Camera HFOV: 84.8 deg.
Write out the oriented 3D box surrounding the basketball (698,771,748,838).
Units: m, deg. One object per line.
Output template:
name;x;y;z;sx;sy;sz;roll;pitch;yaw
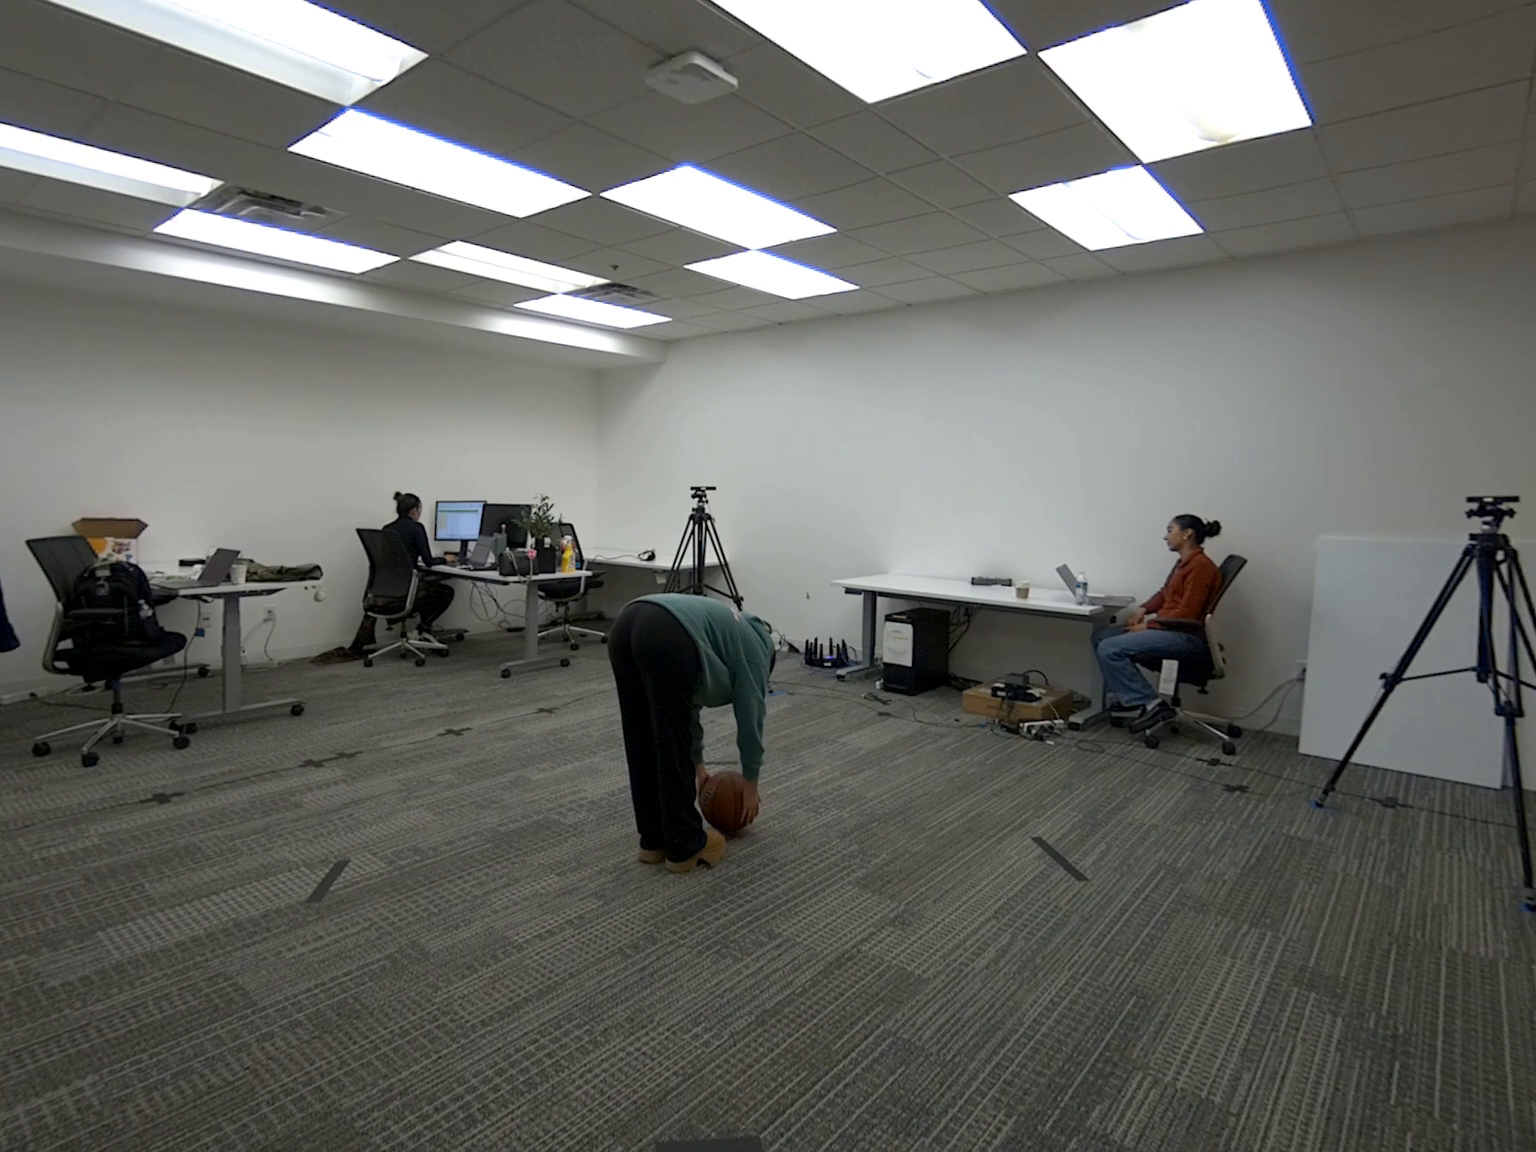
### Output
basketball;-0.167;0.891;3.428;0.235;0.235;0.237;1;4;-2
